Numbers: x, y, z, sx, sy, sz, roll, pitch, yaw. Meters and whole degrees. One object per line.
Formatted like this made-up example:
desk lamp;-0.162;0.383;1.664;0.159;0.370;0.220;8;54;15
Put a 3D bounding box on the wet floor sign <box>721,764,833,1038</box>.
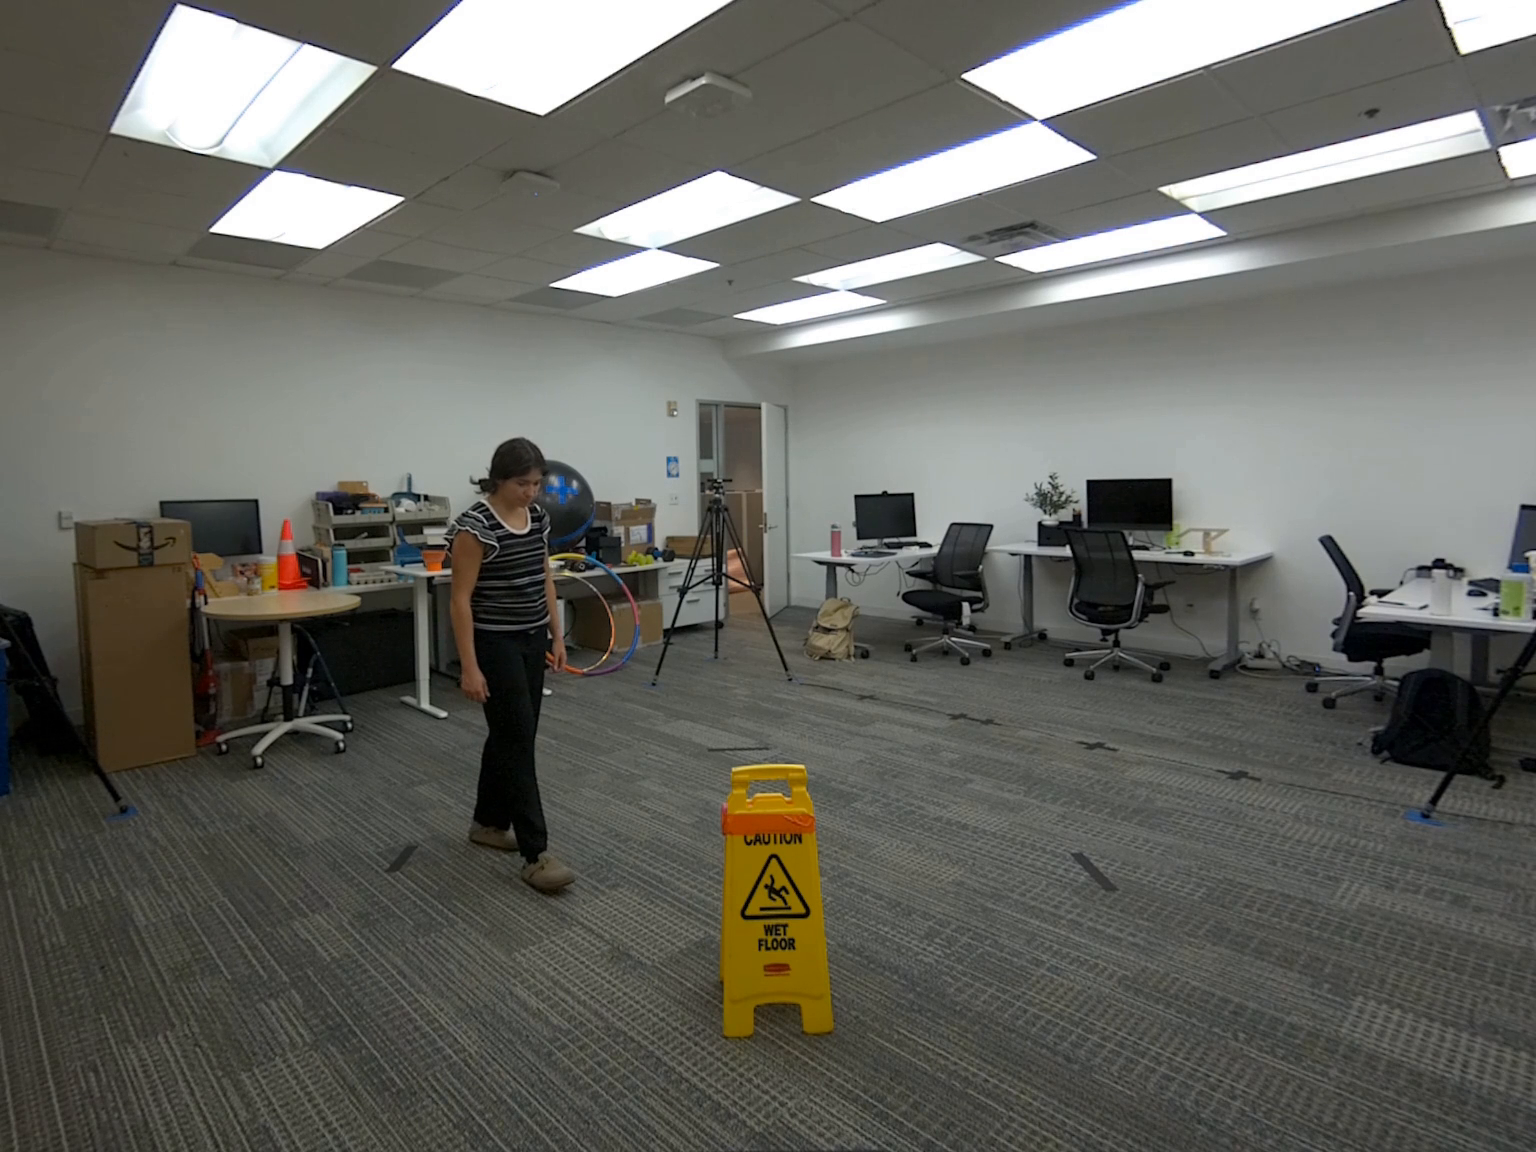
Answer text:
wet floor sign;0.011;0.819;2.243;0.281;0.644;0.291;-2;4;-3
